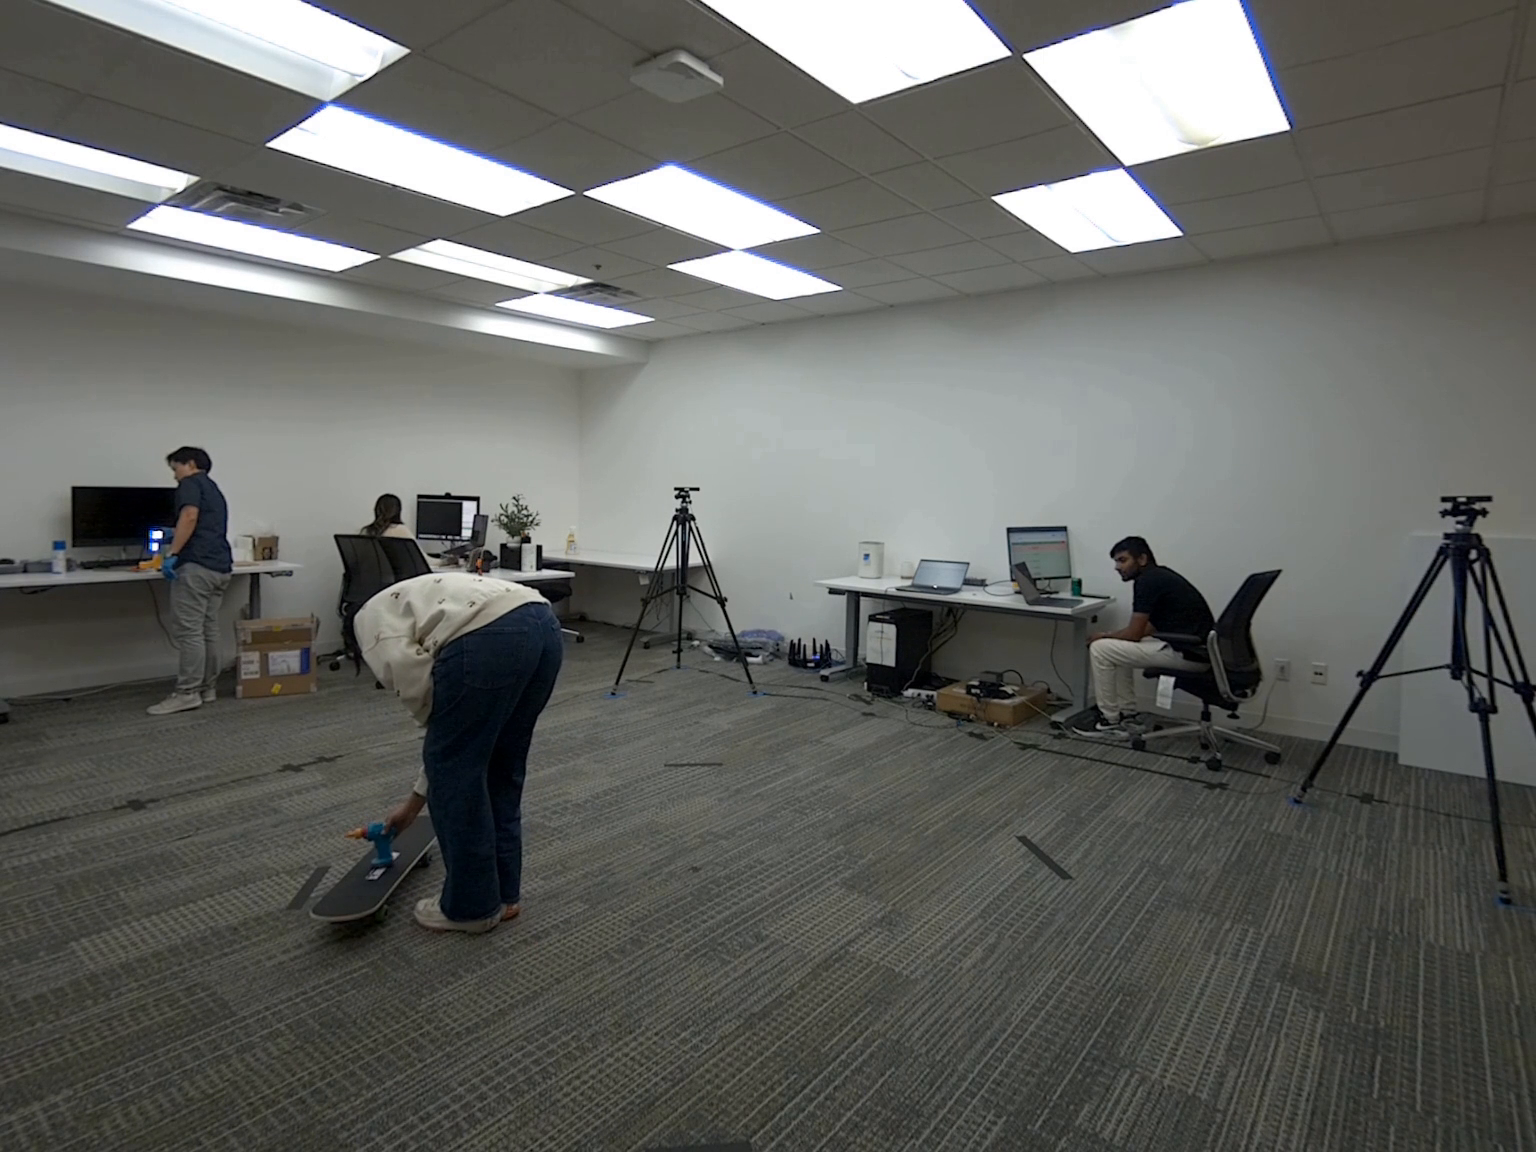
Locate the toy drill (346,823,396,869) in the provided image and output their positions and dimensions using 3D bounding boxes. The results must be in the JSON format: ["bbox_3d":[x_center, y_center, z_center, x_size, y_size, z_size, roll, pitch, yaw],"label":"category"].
[{"bbox_3d":[-1.371,0.909,2.890,0.167,0.146,0.062,-1,-3,-18],"label":"toy drill"}]
